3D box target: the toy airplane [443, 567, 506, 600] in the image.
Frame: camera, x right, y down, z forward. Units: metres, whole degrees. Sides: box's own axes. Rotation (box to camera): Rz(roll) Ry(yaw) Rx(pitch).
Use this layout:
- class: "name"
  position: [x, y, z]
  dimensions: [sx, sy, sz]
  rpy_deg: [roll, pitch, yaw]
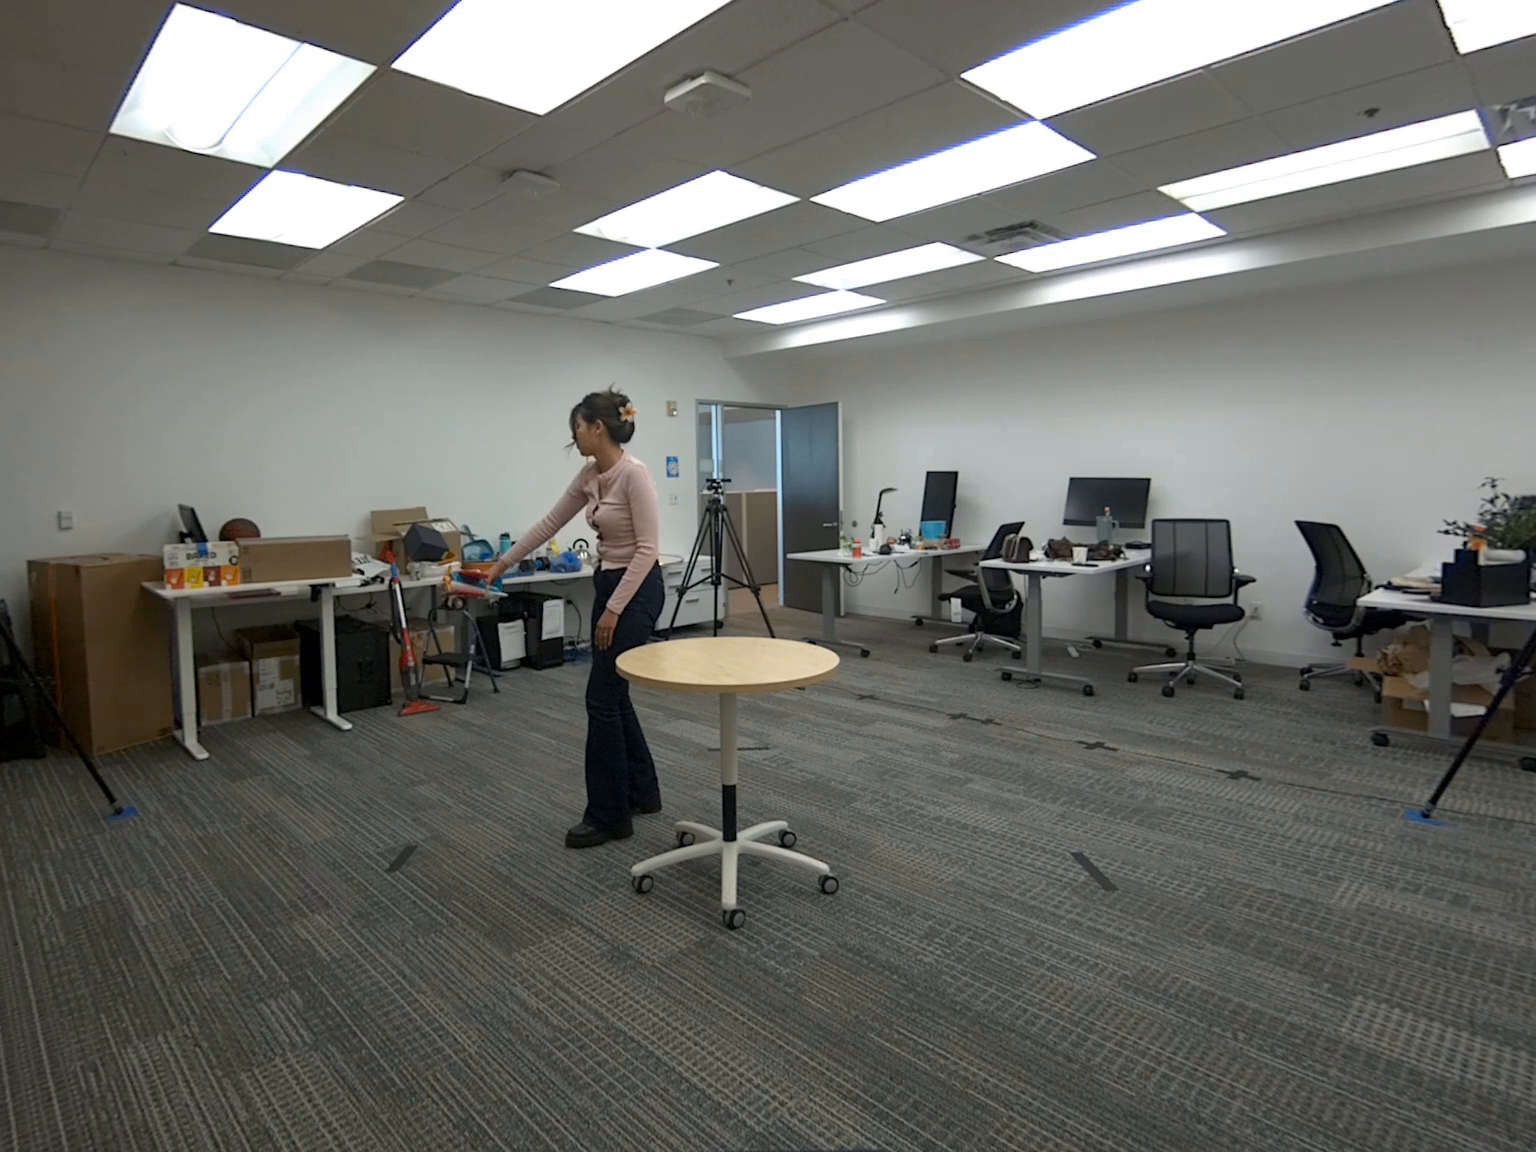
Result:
- class: "toy airplane"
  position: [-1.191, 0.058, 3.414]
  dimensions: [0.254, 0.157, 0.255]
  rpy_deg: [-3, -2, 13]
